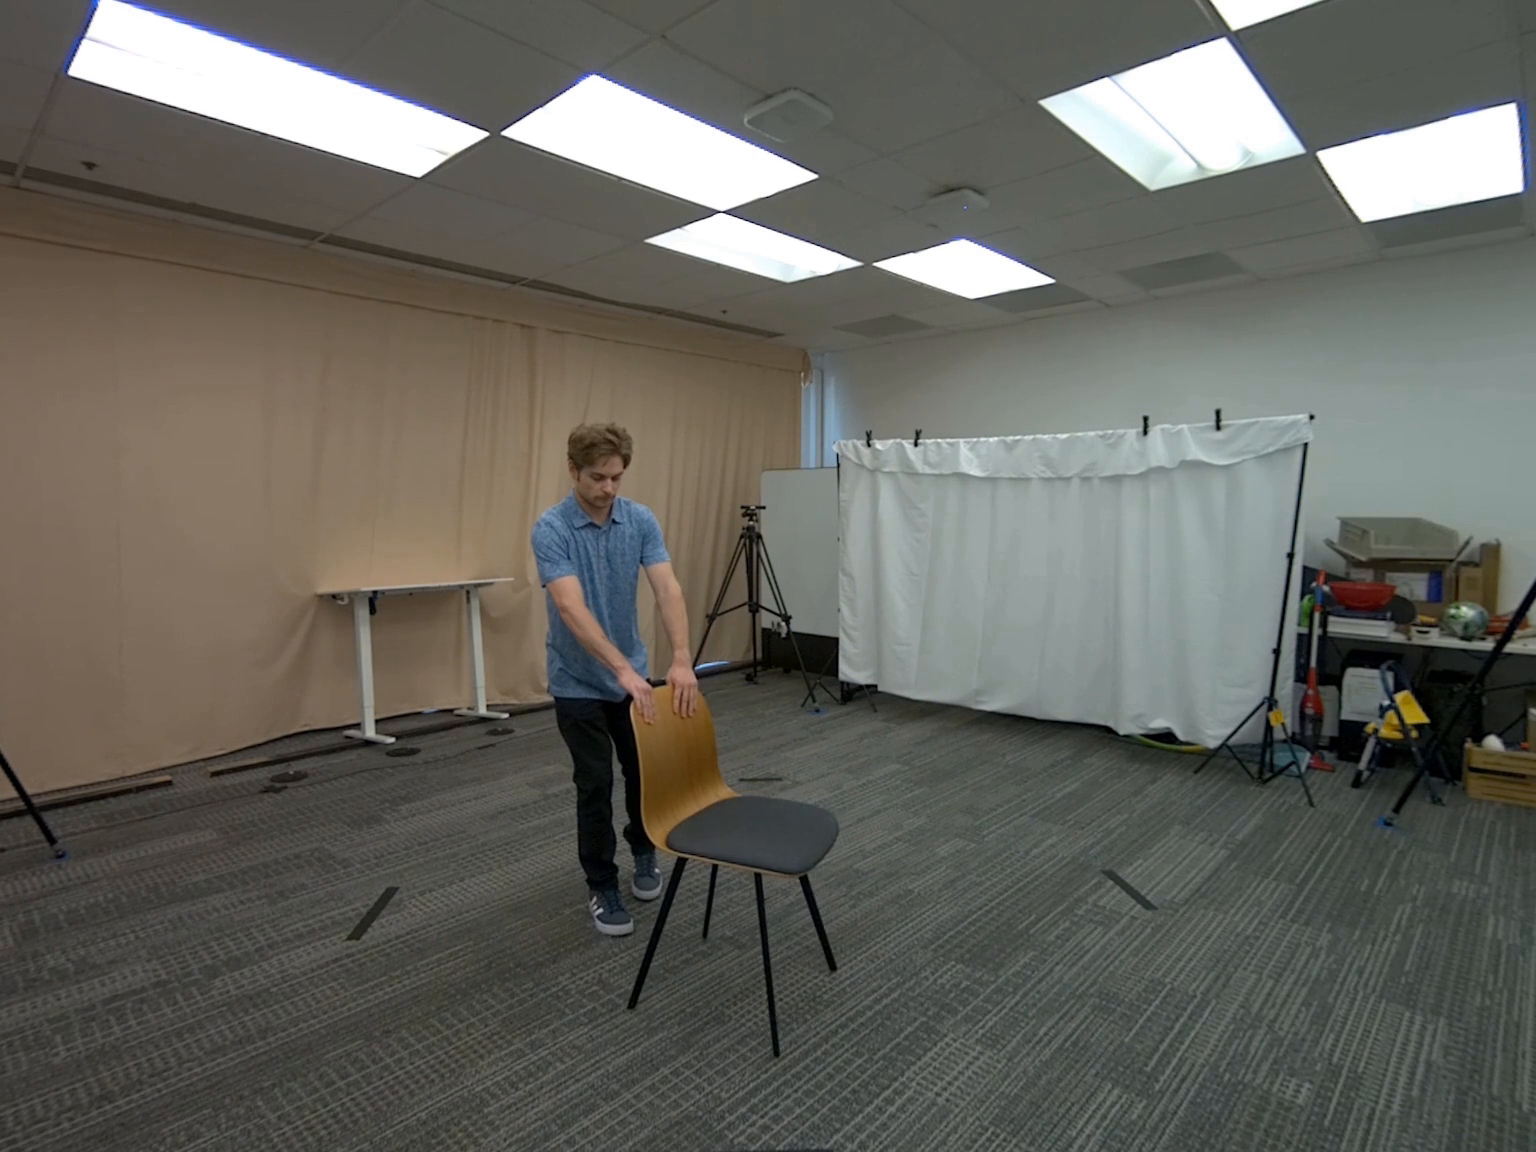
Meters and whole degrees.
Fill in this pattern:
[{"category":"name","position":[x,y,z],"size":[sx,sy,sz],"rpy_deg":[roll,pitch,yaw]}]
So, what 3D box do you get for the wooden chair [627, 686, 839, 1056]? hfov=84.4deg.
[{"category":"wooden chair","position":[-0.079,0.766,2.394],"size":[0.536,0.877,0.466],"rpy_deg":[-3,1,26]}]
